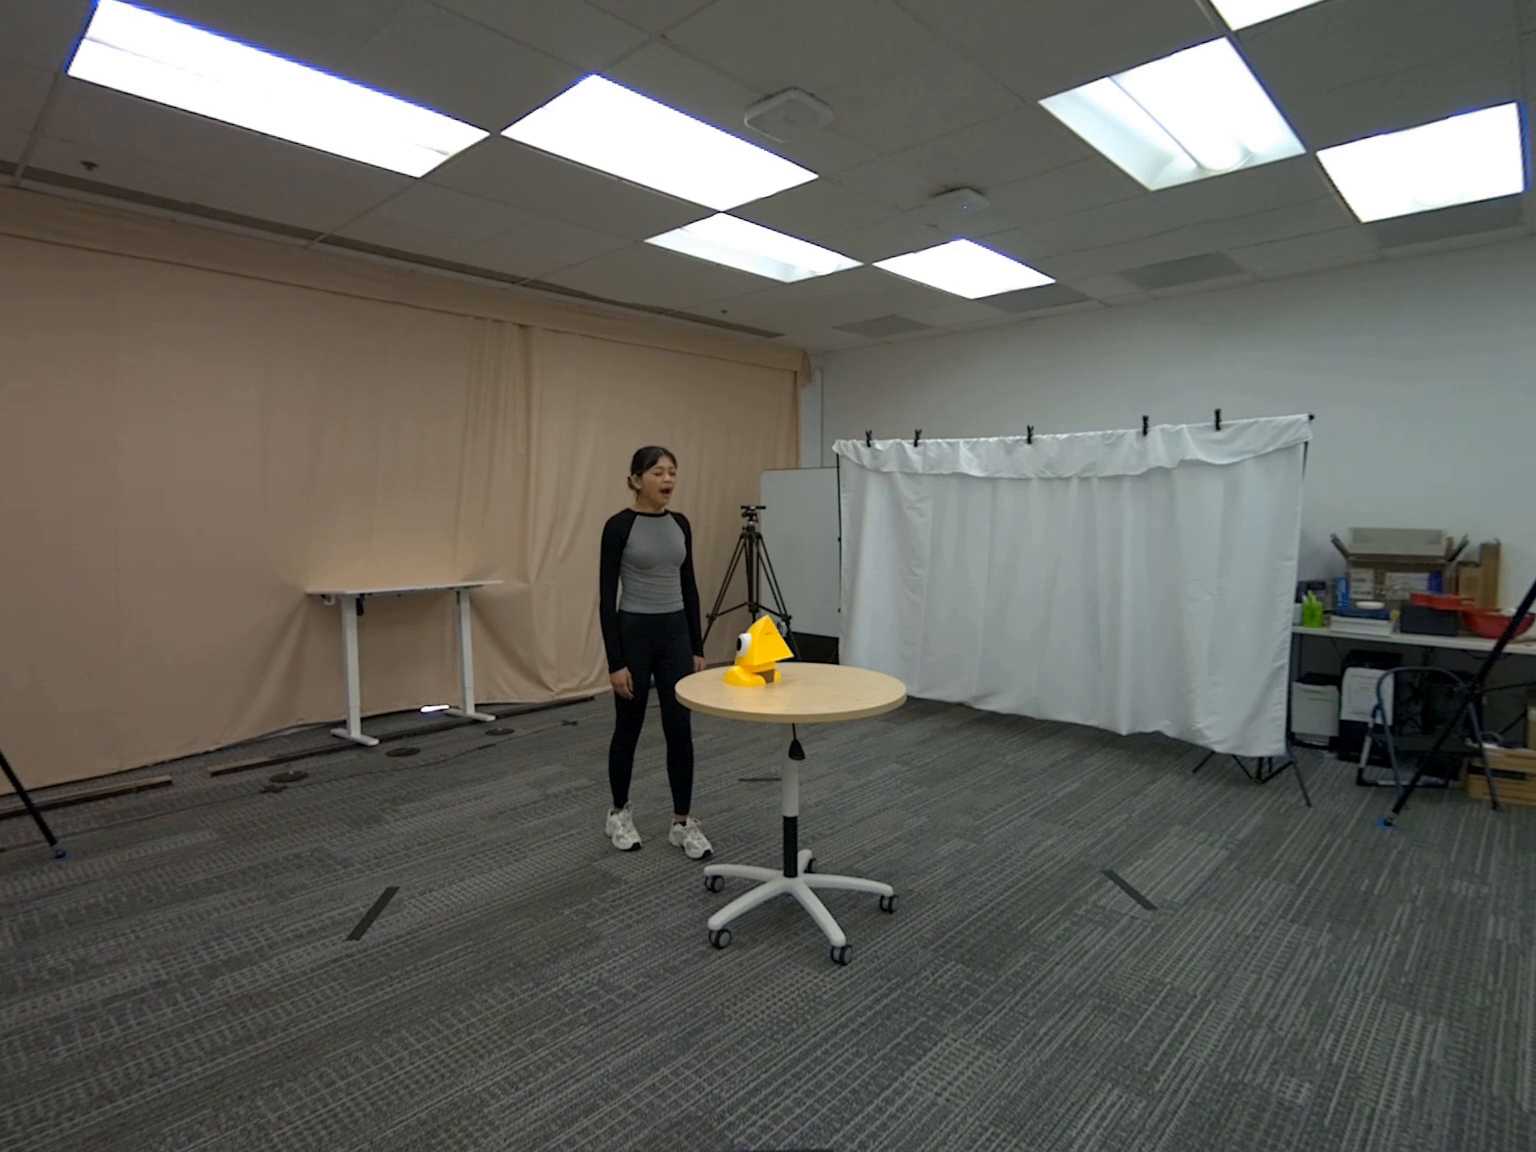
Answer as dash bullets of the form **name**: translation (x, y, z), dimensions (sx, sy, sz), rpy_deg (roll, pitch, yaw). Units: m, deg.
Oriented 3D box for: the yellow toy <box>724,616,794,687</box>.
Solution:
- **yellow toy**: translation (-0.043, 0.245, 2.897), dimensions (0.199, 0.230, 0.199), rpy_deg (4, 6, 41)
